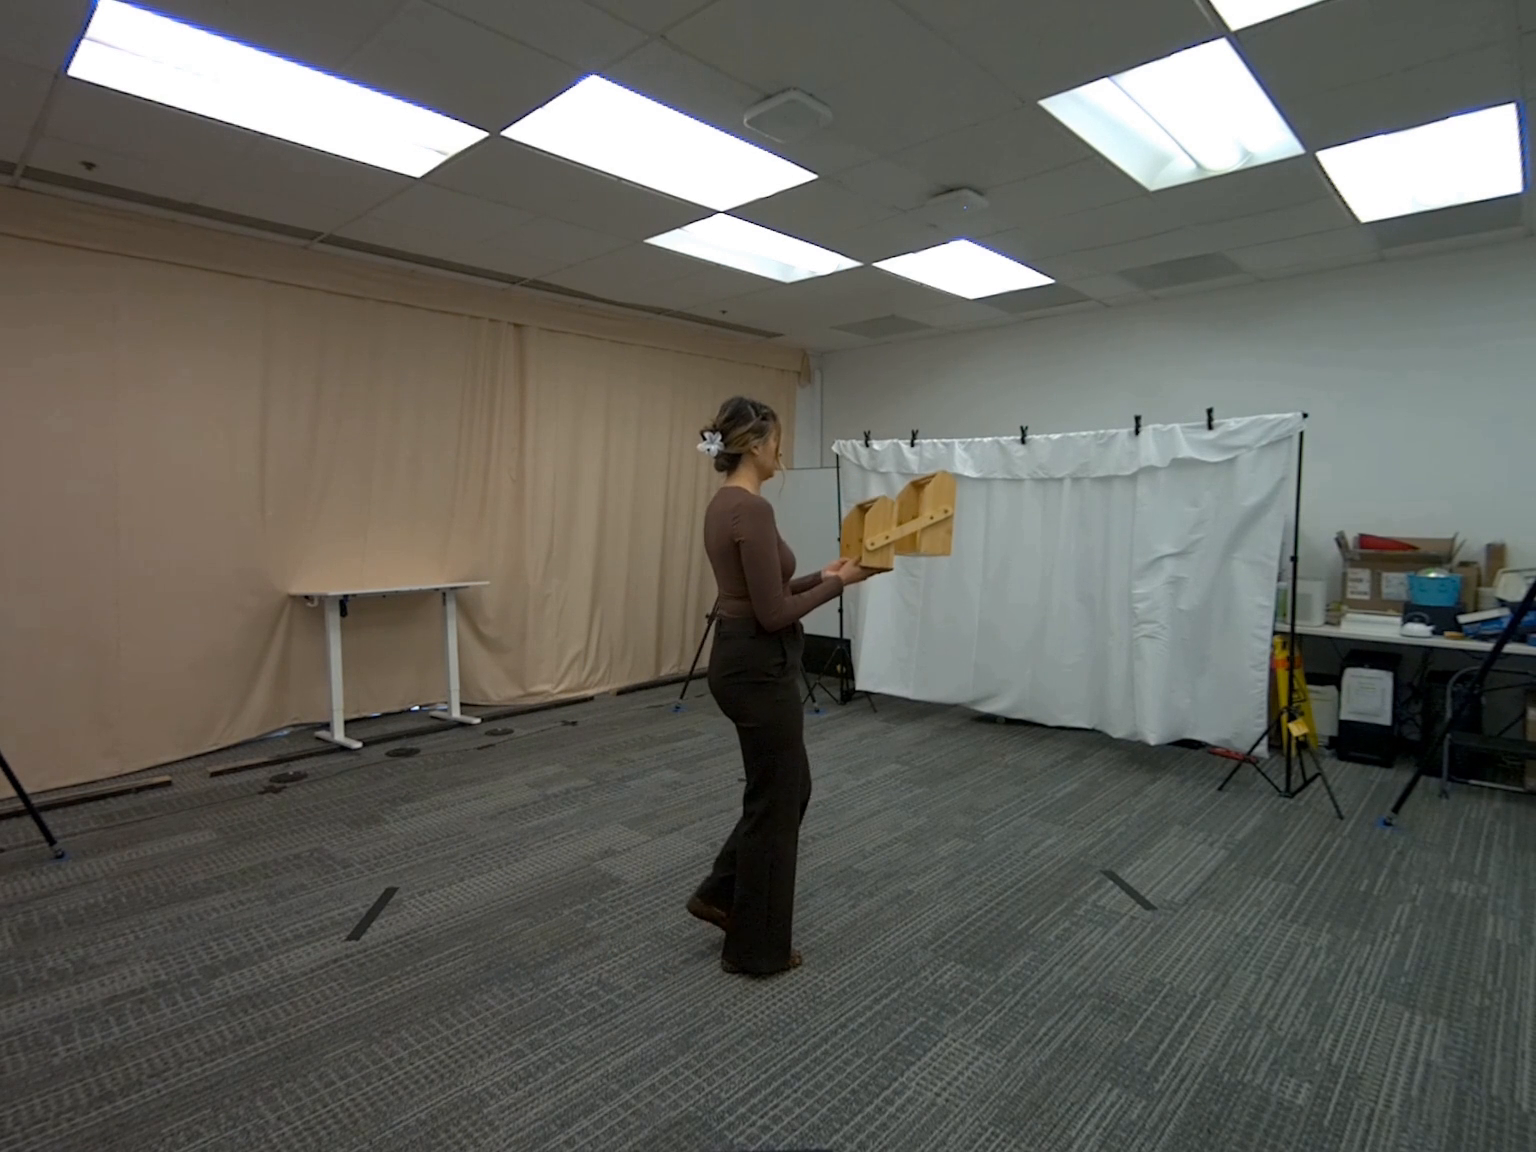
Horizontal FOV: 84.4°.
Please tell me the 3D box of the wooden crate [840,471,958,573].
[{"bbox_3d":[0.390,-0.168,2.574,0.271,0.302,0.326,4,-1,-7],"label":"wooden crate"}]
